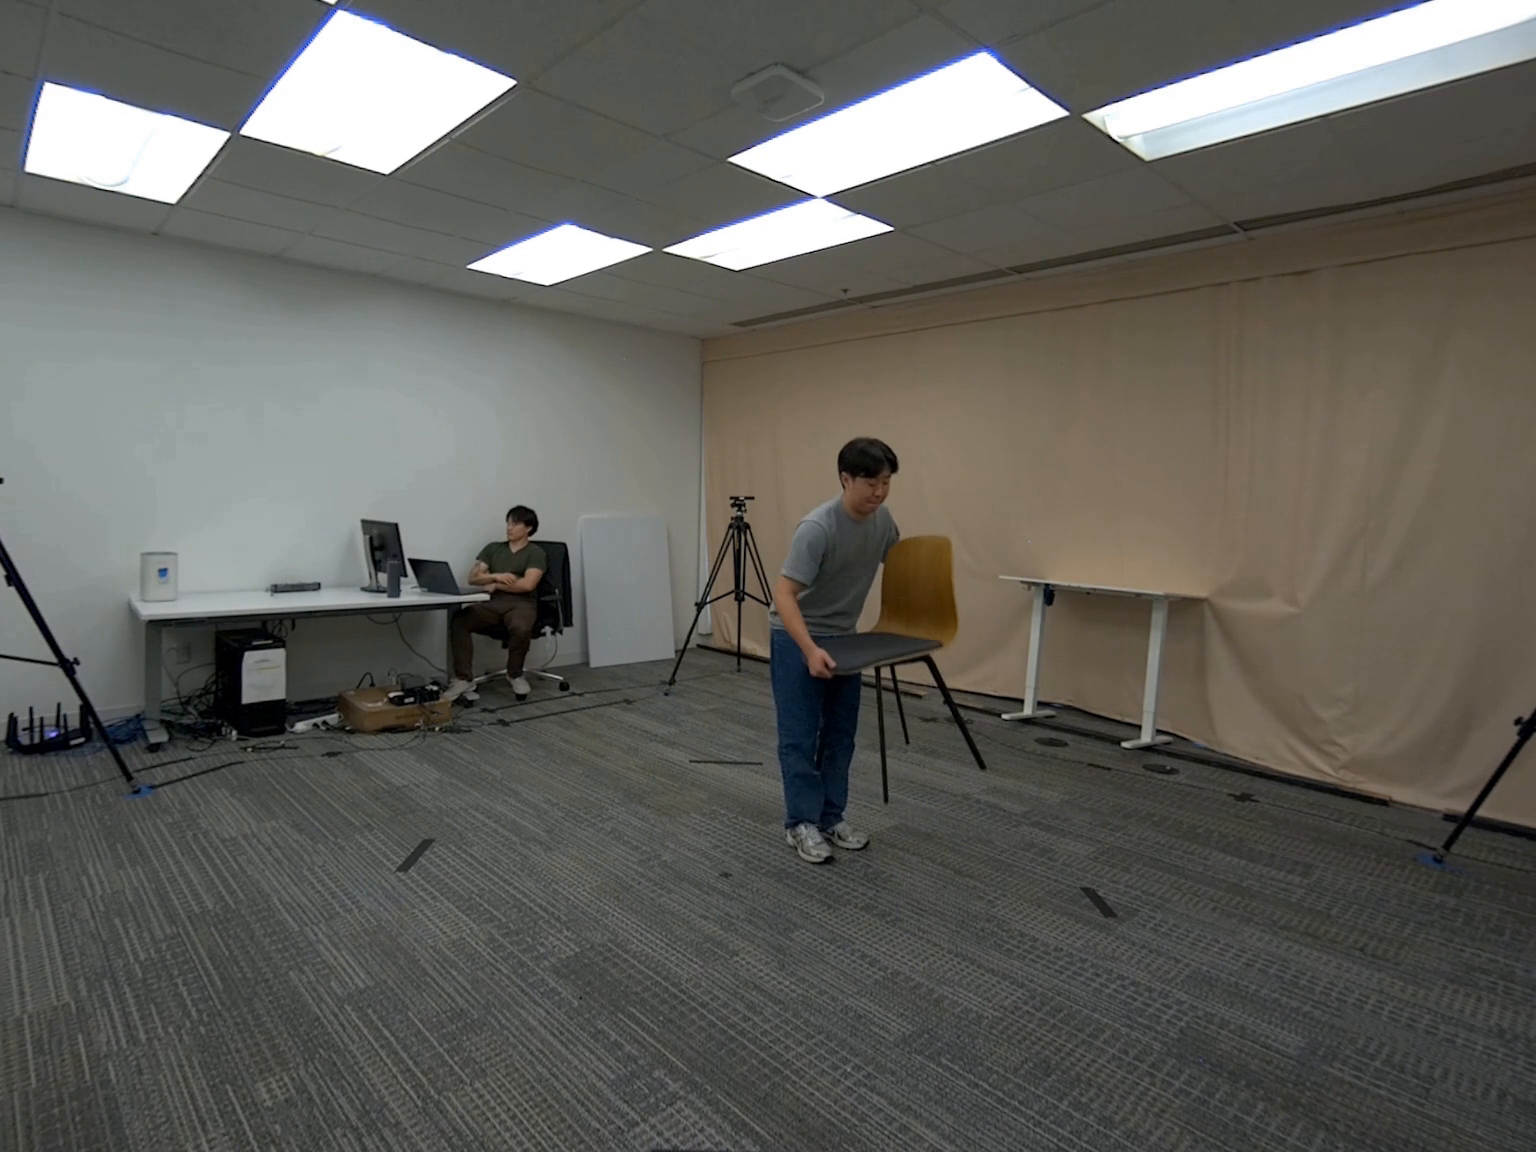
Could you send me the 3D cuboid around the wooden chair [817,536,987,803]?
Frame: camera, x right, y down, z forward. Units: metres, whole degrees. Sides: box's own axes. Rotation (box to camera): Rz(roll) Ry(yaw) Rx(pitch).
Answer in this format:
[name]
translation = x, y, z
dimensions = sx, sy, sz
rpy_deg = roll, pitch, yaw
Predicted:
[wooden chair]
translation = 0.421, 0.329, 3.084
dimensions = 0.513, 0.876, 0.488
rpy_deg = -4, 3, -28
